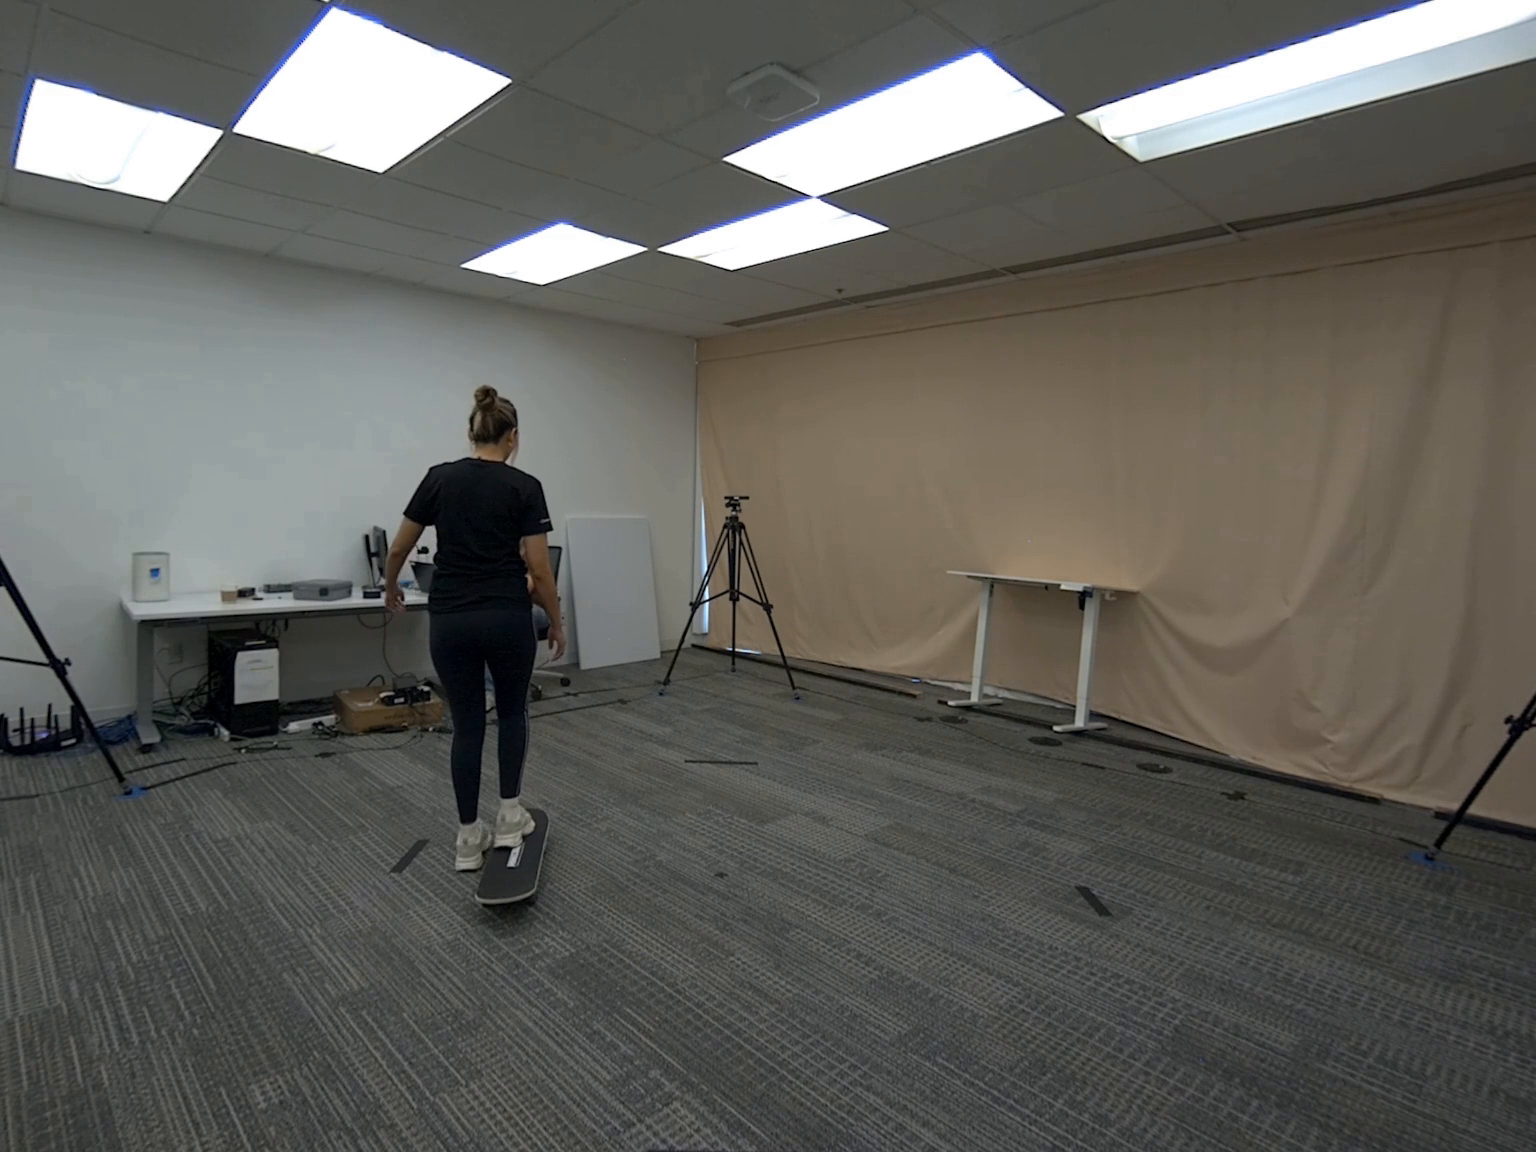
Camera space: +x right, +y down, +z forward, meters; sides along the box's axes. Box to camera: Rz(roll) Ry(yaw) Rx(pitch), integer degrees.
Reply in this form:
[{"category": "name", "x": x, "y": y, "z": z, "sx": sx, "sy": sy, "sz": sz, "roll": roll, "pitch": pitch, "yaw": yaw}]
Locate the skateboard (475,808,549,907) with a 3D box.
[{"category": "skateboard", "x": -0.919, "y": 1.040, "z": 3.039, "sx": 0.192, "sy": 0.110, "sz": 0.793, "roll": -2, "pitch": 6, "yaw": -9}]
